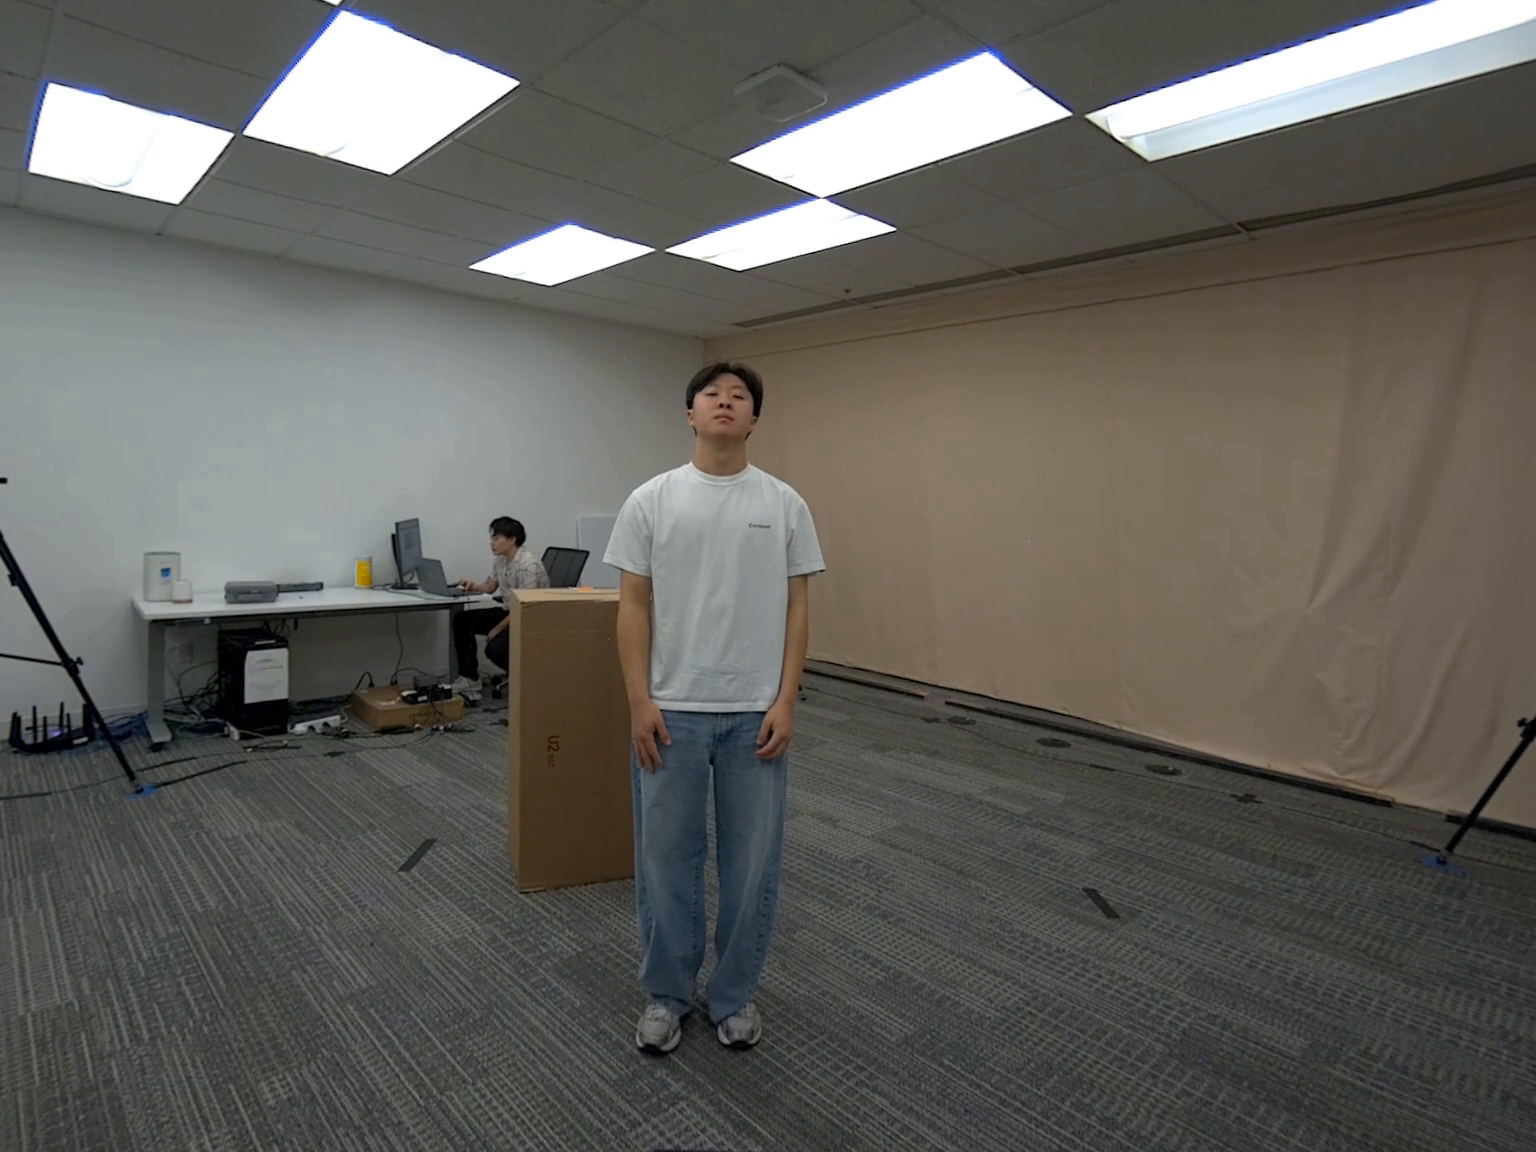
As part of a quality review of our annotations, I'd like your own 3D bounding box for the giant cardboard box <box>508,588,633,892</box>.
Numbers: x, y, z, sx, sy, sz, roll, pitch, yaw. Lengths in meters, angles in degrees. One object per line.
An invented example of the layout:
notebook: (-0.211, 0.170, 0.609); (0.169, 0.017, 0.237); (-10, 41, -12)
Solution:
giant cardboard box: (-0.679, 0.577, 3.198); (0.568, 1.023, 0.434); (0, 3, -22)
